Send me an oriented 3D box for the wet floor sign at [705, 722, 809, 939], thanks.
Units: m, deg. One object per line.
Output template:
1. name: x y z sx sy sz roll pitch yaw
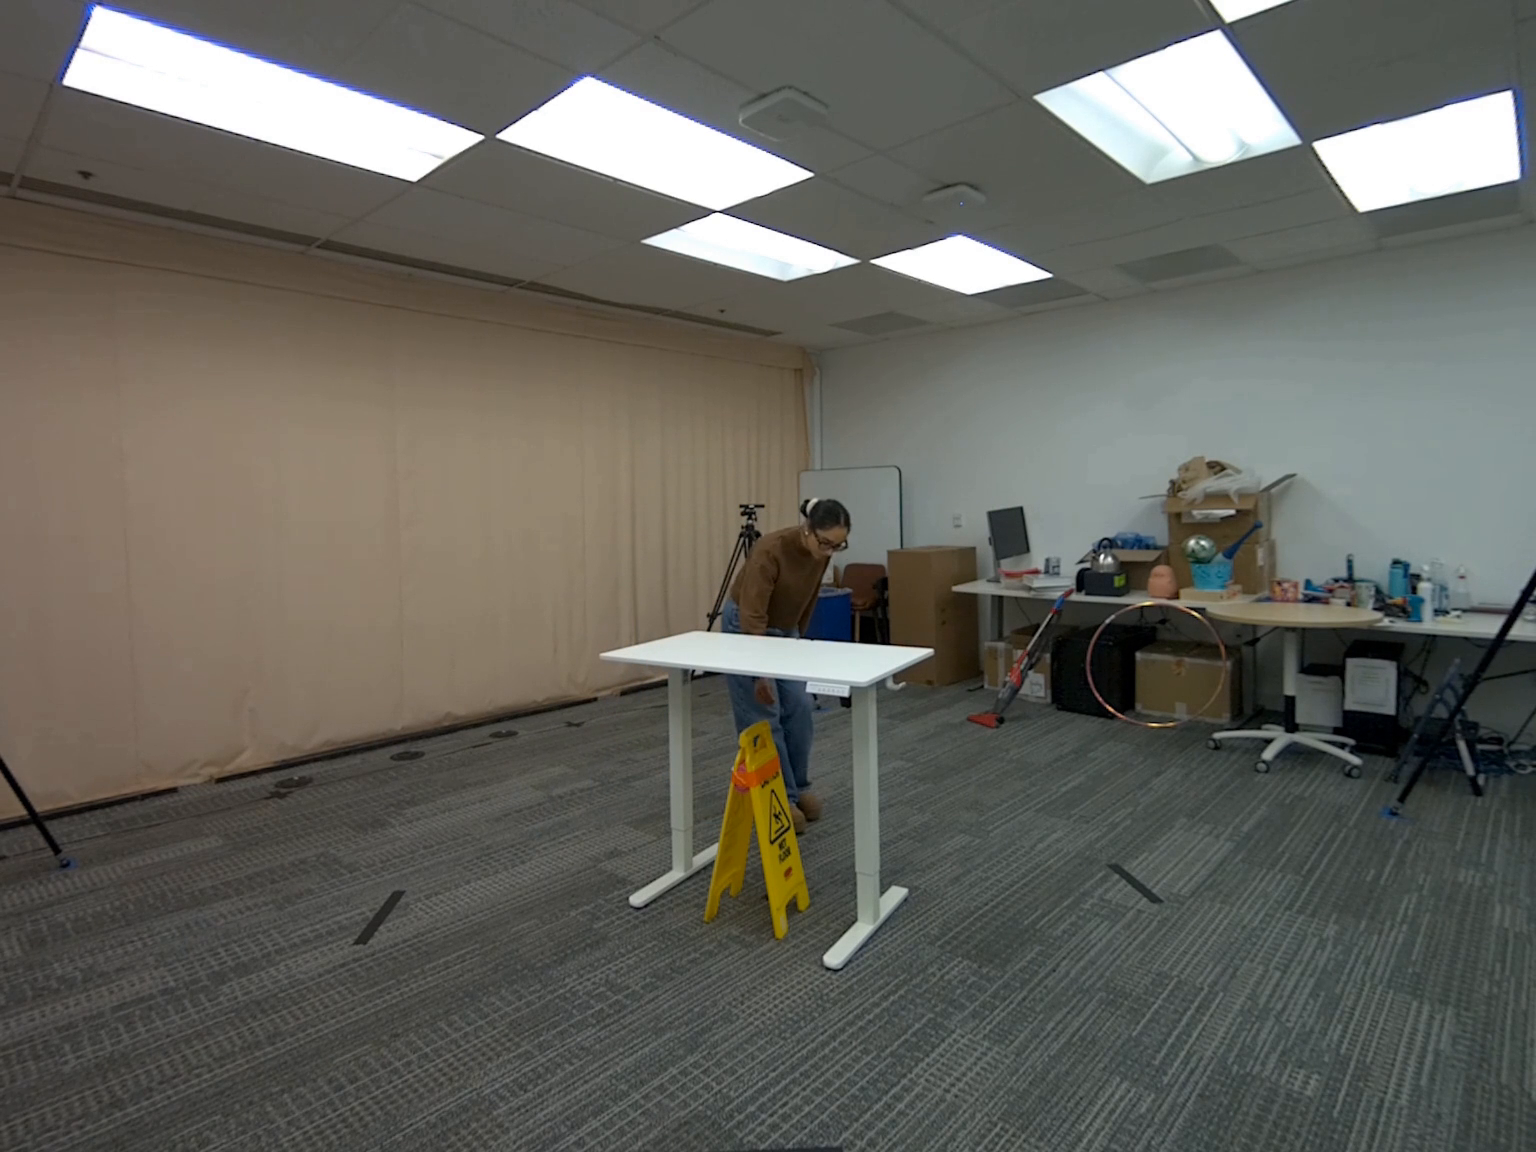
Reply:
1. wet floor sign: -0.042 0.825 2.856 0.297 0.645 0.276 0 3 24
